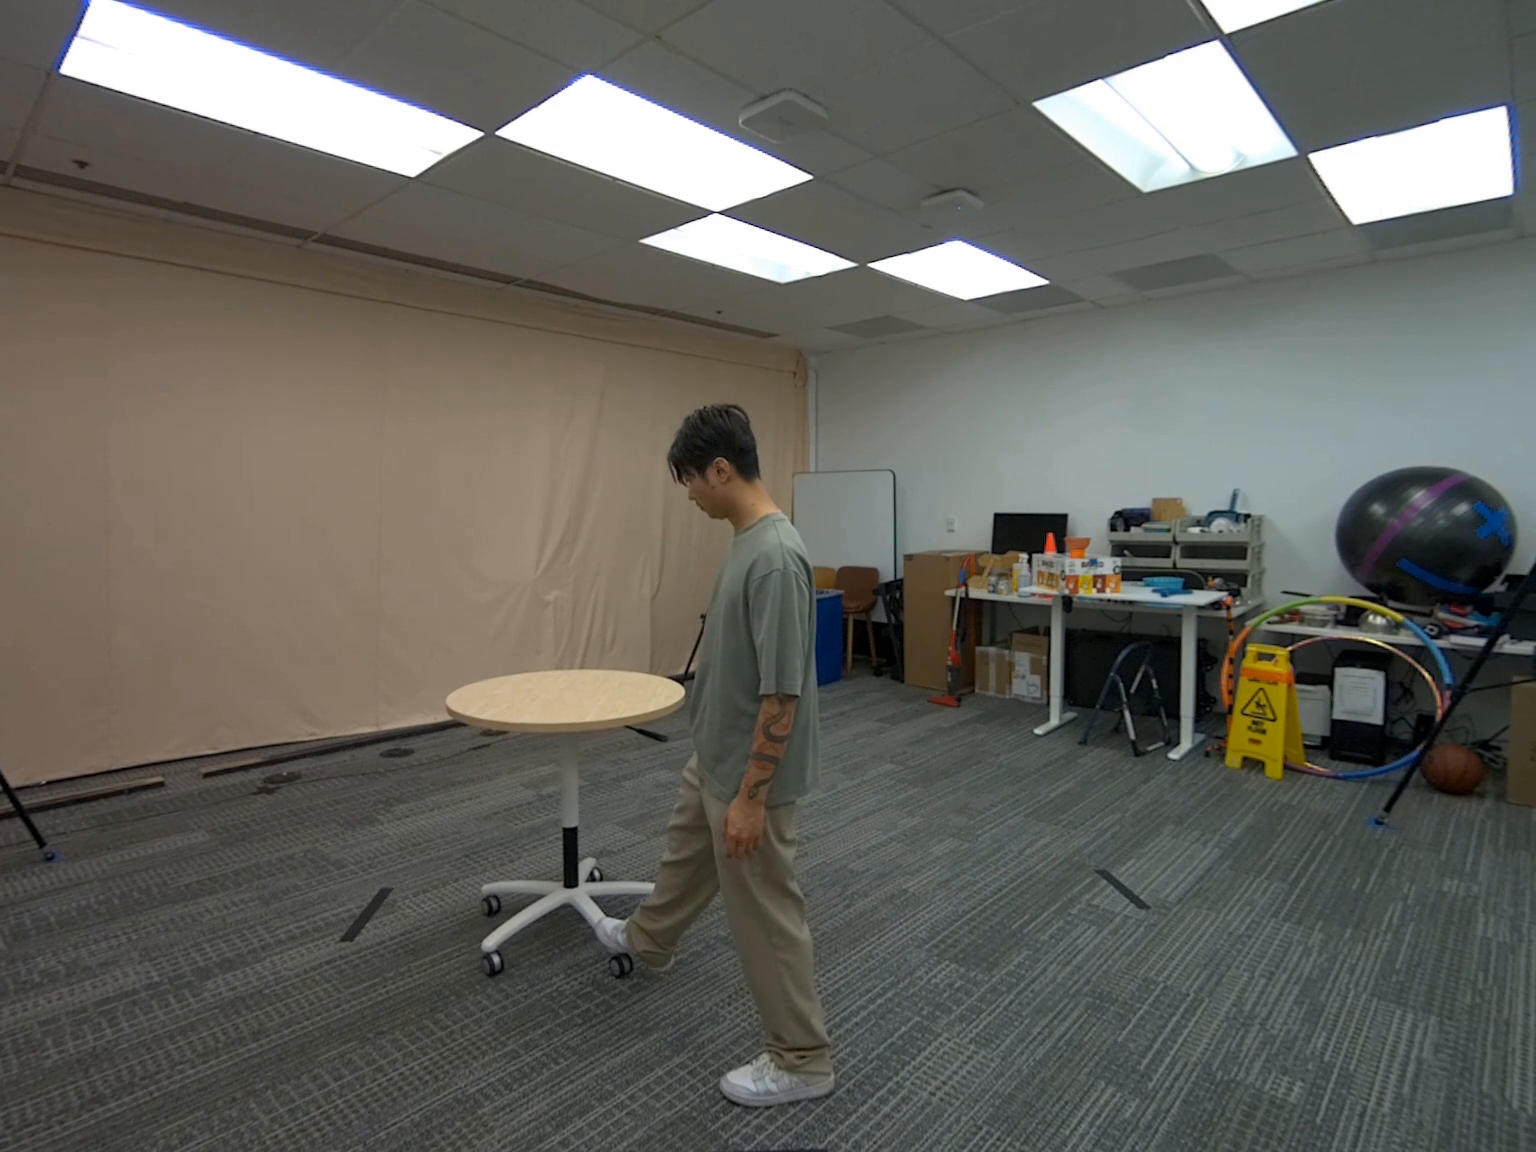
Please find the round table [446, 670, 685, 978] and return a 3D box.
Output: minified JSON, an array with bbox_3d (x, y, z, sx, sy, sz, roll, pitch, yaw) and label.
[{"bbox_3d":[-0.631,0.773,2.768,0.784,0.785,0.788,-1,4,-2],"label":"round table"}]
